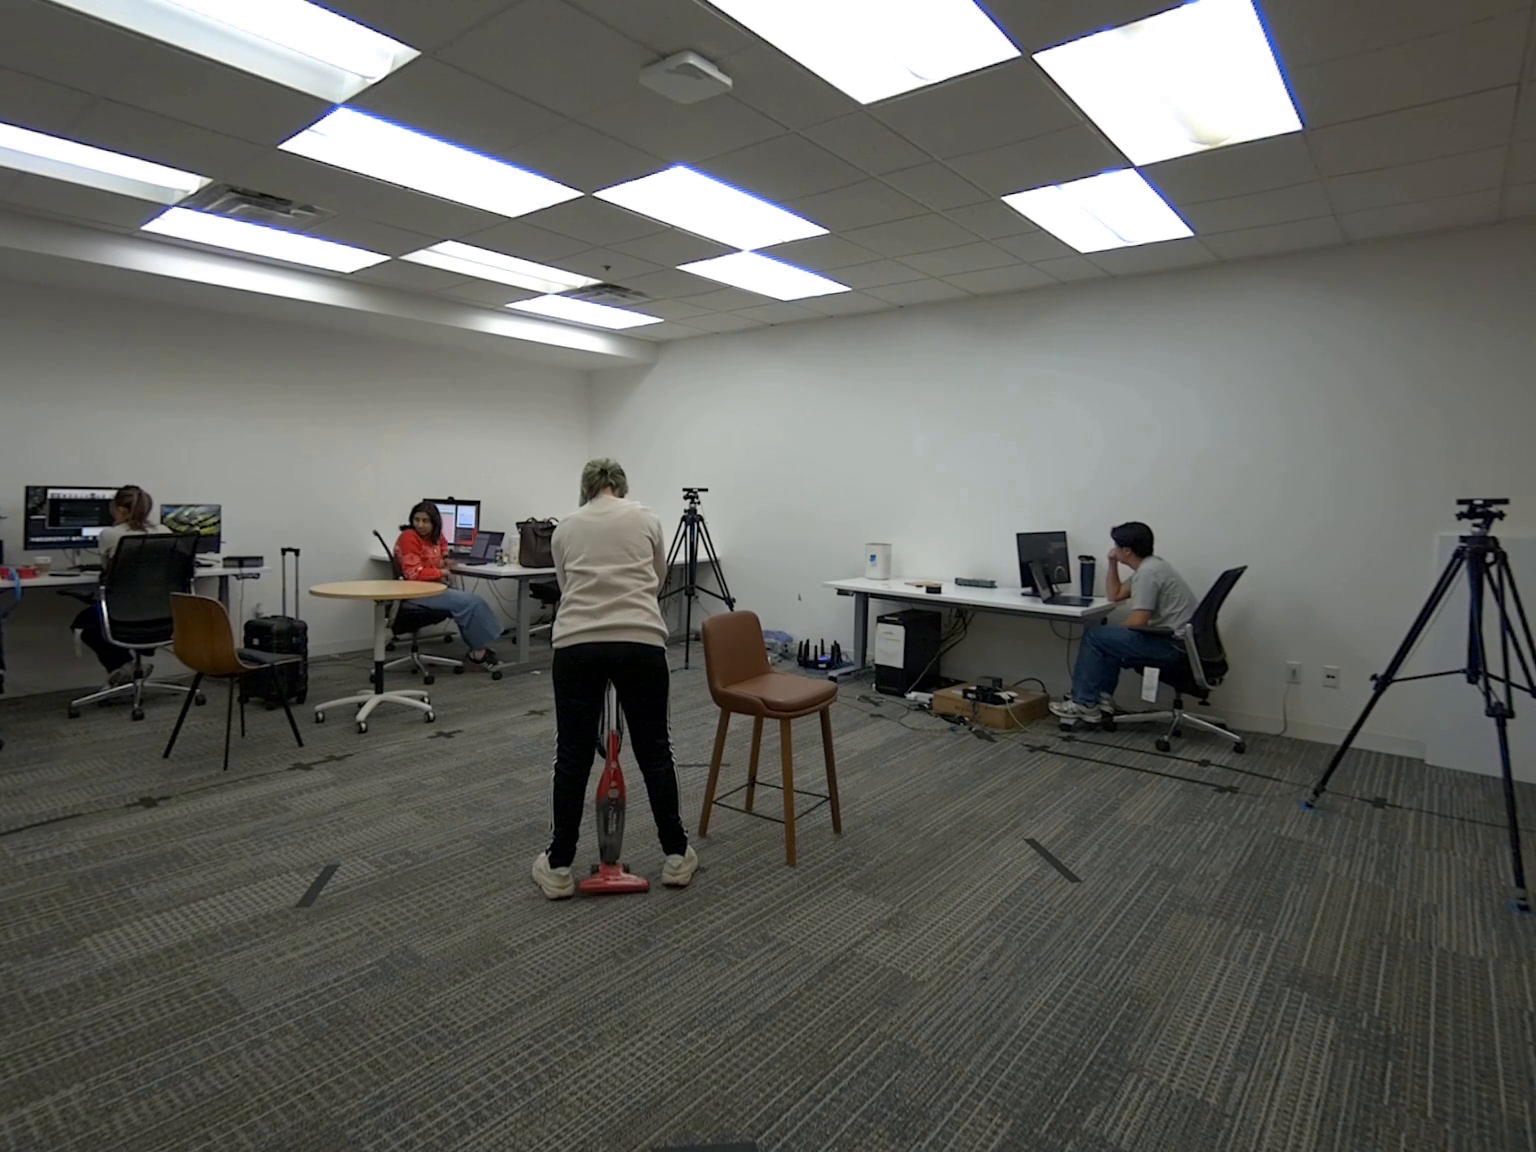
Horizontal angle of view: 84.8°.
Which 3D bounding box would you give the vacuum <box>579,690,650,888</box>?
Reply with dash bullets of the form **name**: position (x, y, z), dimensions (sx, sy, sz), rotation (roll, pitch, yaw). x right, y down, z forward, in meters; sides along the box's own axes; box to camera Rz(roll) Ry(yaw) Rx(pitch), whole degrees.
- **vacuum**: position (-0.605, 0.596, 3.247), dimensions (0.248, 1.081, 0.142), rotation (2, -33, -16)
